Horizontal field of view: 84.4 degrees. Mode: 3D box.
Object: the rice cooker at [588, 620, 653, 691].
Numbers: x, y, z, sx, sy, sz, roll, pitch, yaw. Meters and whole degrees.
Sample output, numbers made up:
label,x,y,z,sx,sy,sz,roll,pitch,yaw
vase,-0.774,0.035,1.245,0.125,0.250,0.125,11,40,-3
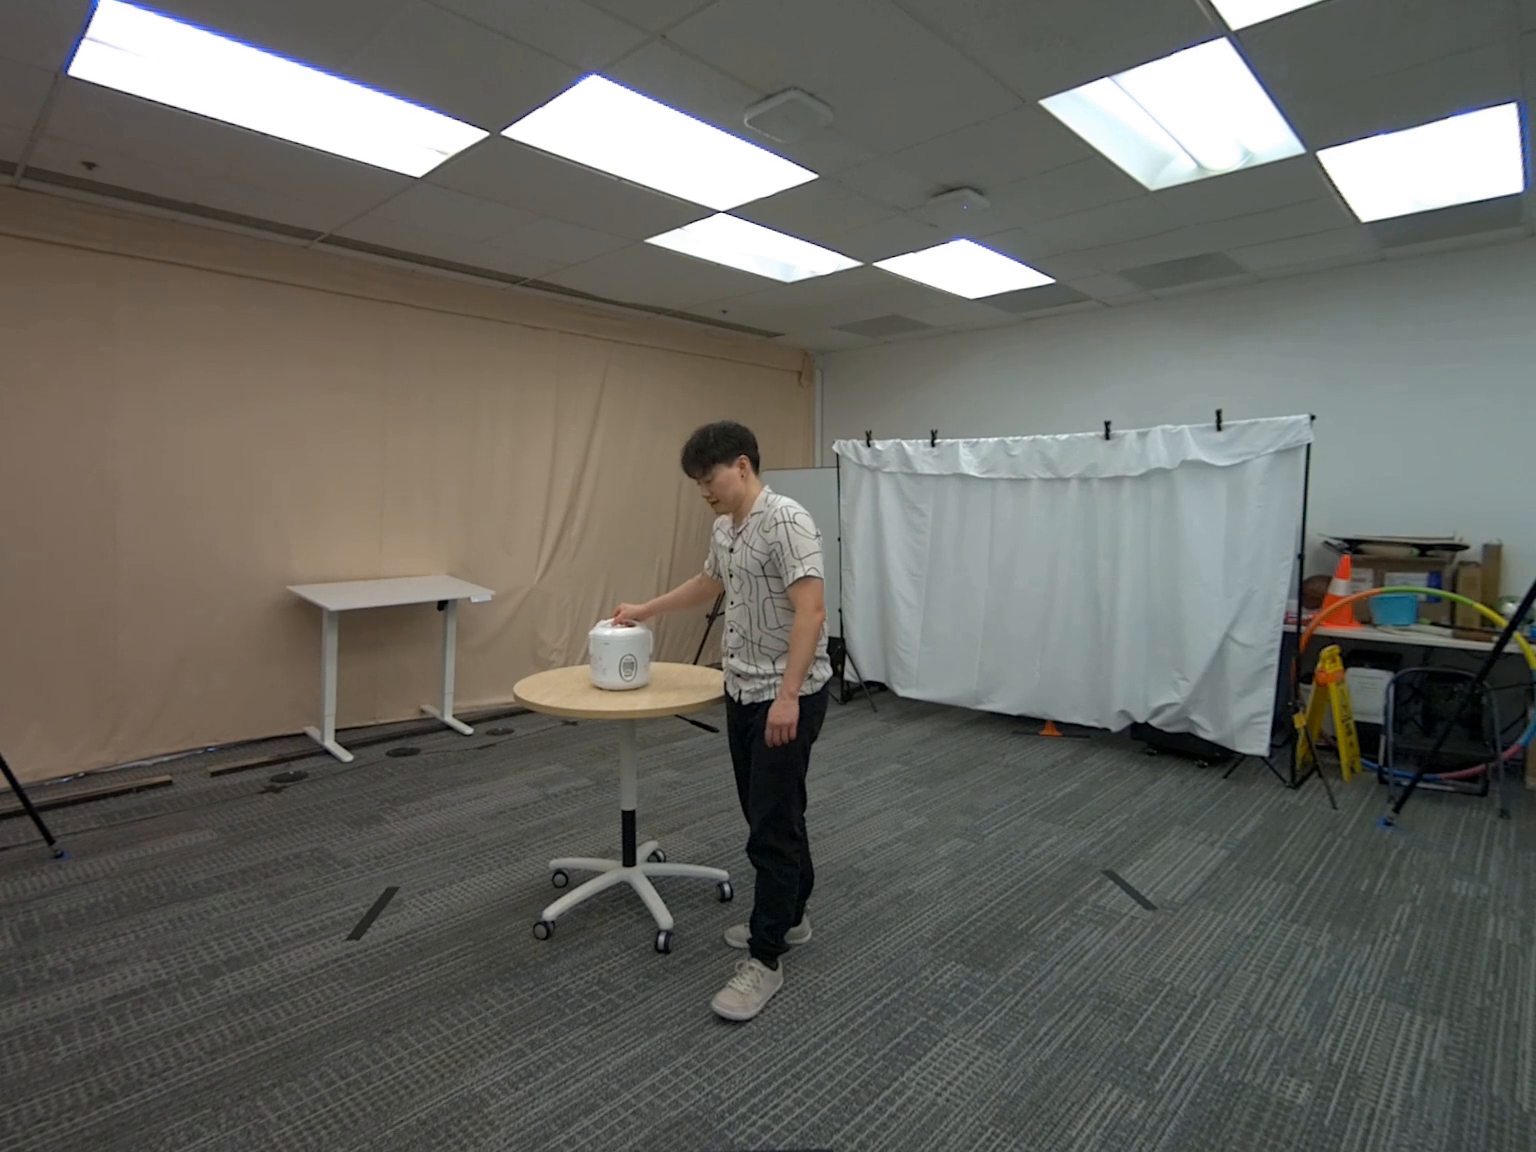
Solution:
label,x,y,z,sx,sy,sz,roll,pitch,yaw
rice cooker,-0.498,0.255,2.866,0.216,0.232,0.222,-2,4,-21
